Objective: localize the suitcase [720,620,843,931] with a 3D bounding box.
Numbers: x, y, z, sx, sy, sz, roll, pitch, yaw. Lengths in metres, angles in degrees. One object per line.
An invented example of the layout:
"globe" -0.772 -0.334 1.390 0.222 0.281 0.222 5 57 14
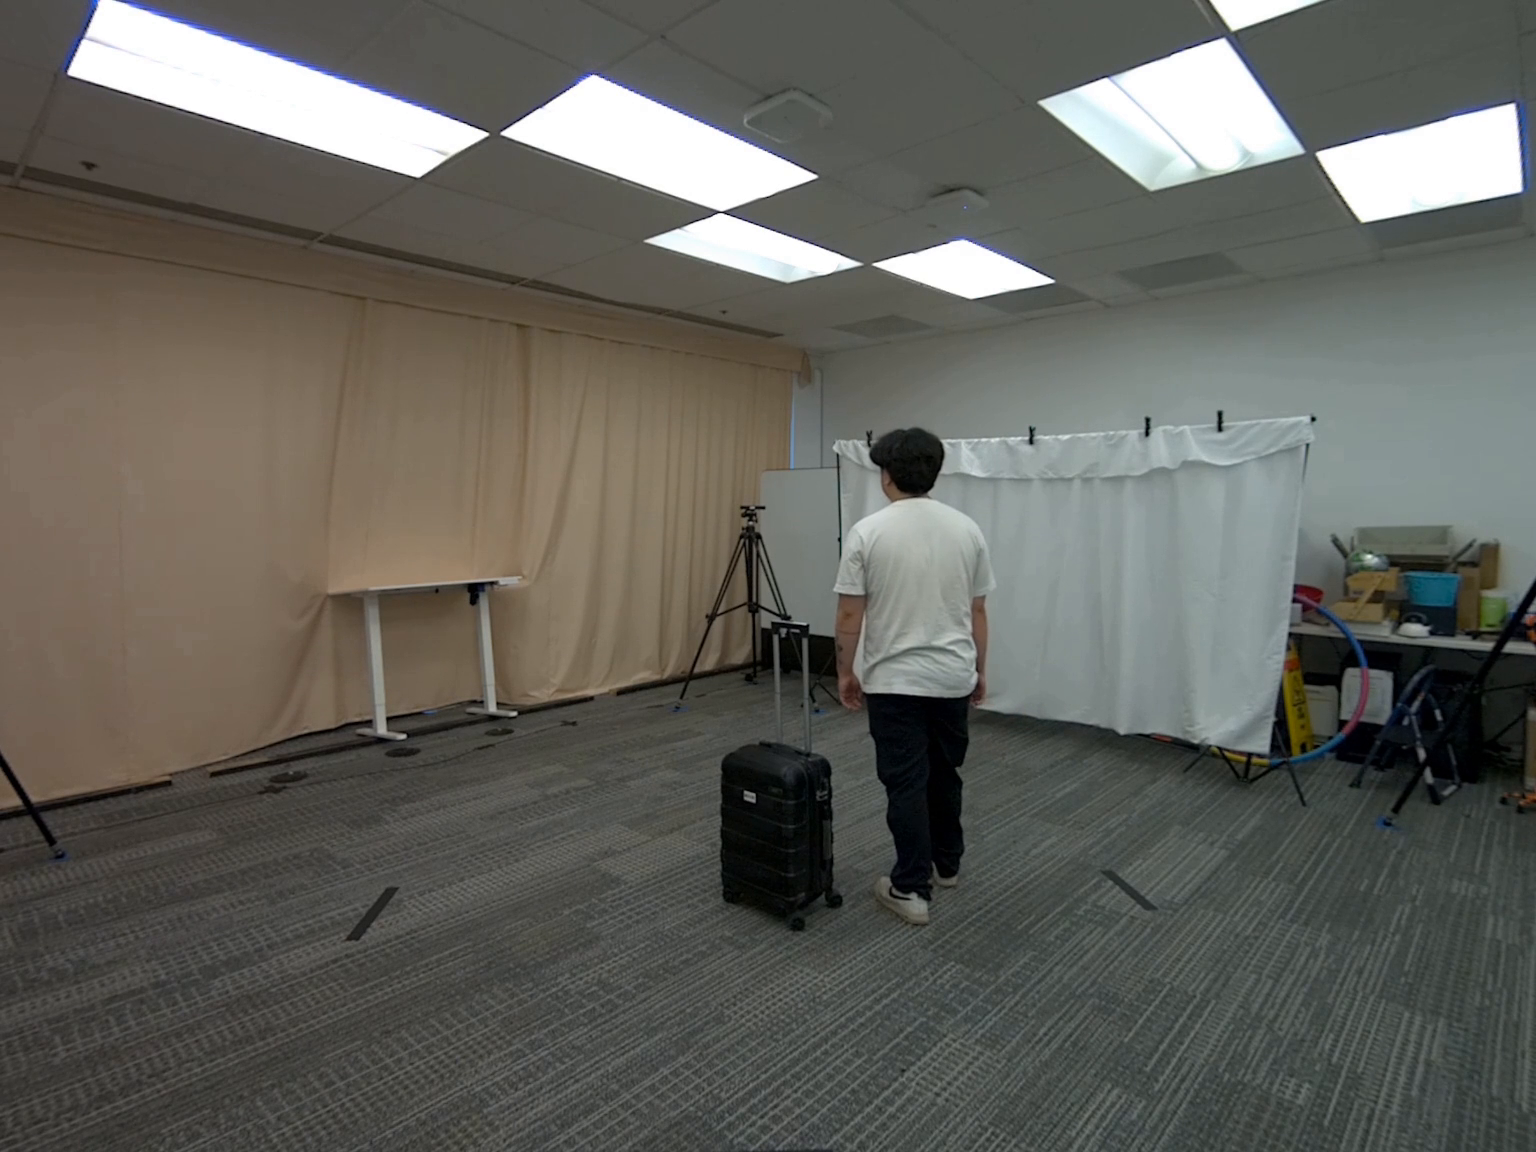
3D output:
"suitcase" 0.027 0.674 2.917 0.397 0.975 0.249 2 7 42
